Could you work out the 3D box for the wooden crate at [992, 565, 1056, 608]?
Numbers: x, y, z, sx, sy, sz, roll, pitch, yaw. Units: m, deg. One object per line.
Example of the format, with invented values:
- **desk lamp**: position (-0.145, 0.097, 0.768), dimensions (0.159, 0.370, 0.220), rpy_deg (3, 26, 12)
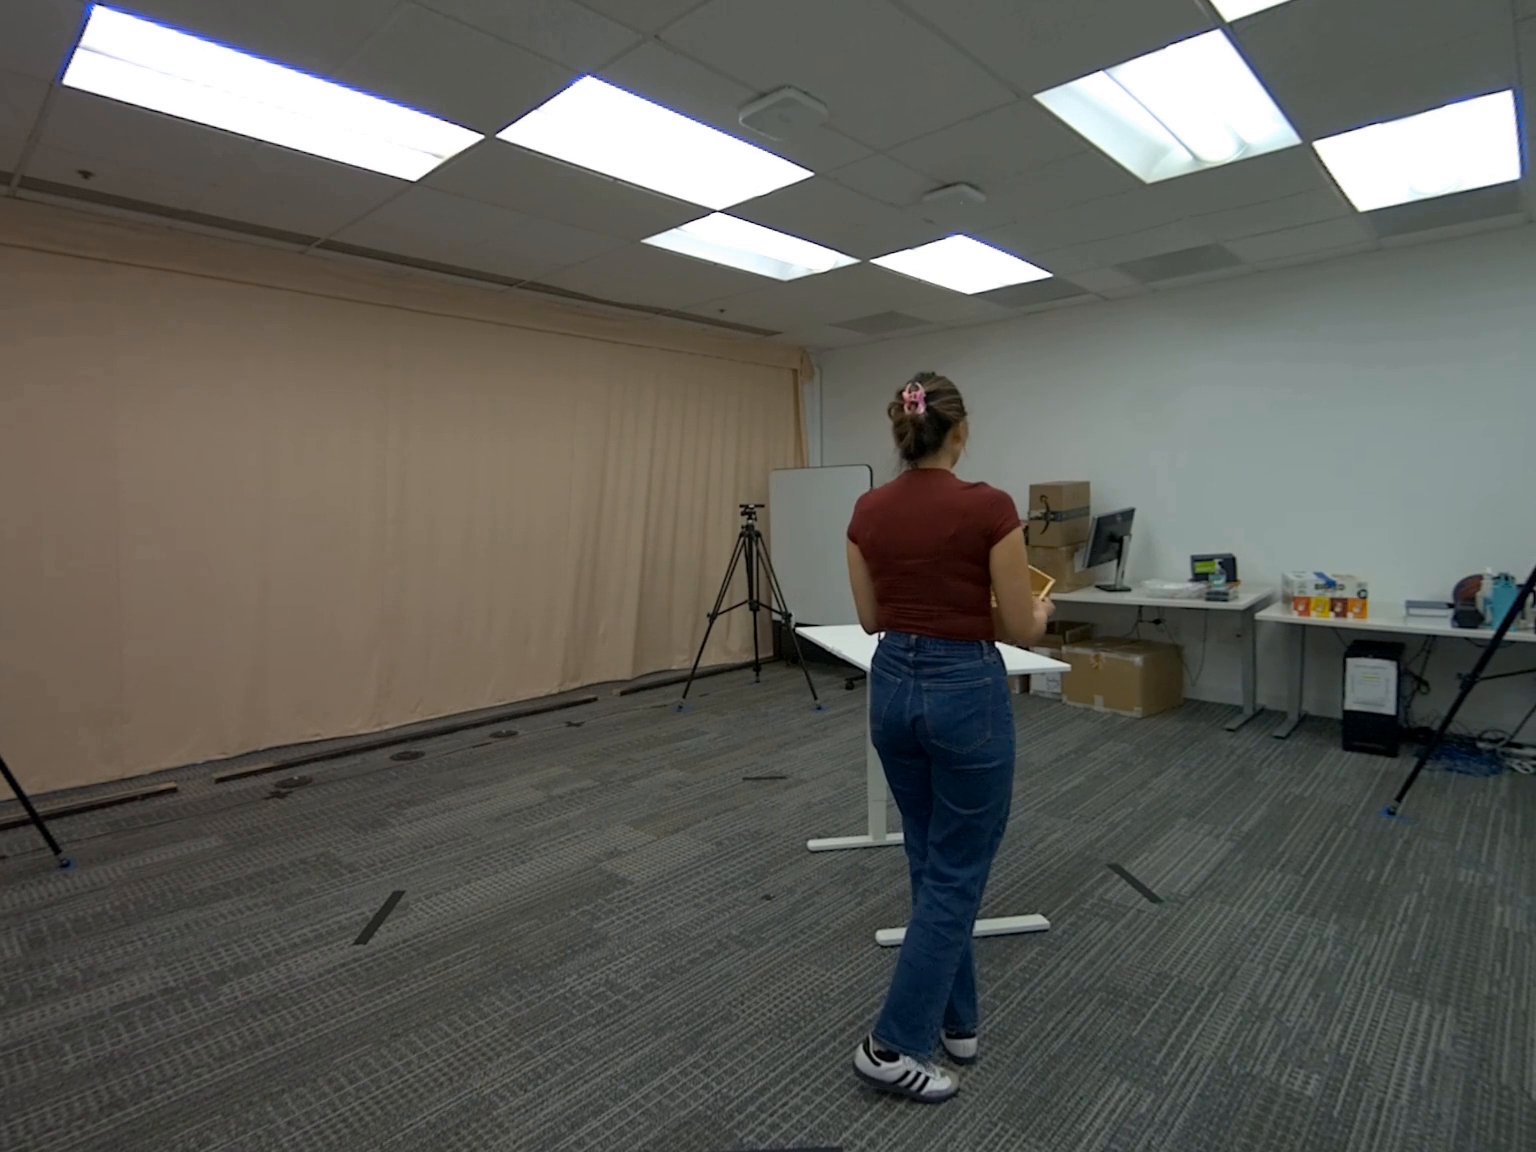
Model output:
- **wooden crate**: position (0.603, -0.014, 2.344), dimensions (0.311, 0.270, 0.319), rpy_deg (-2, 19, 36)
